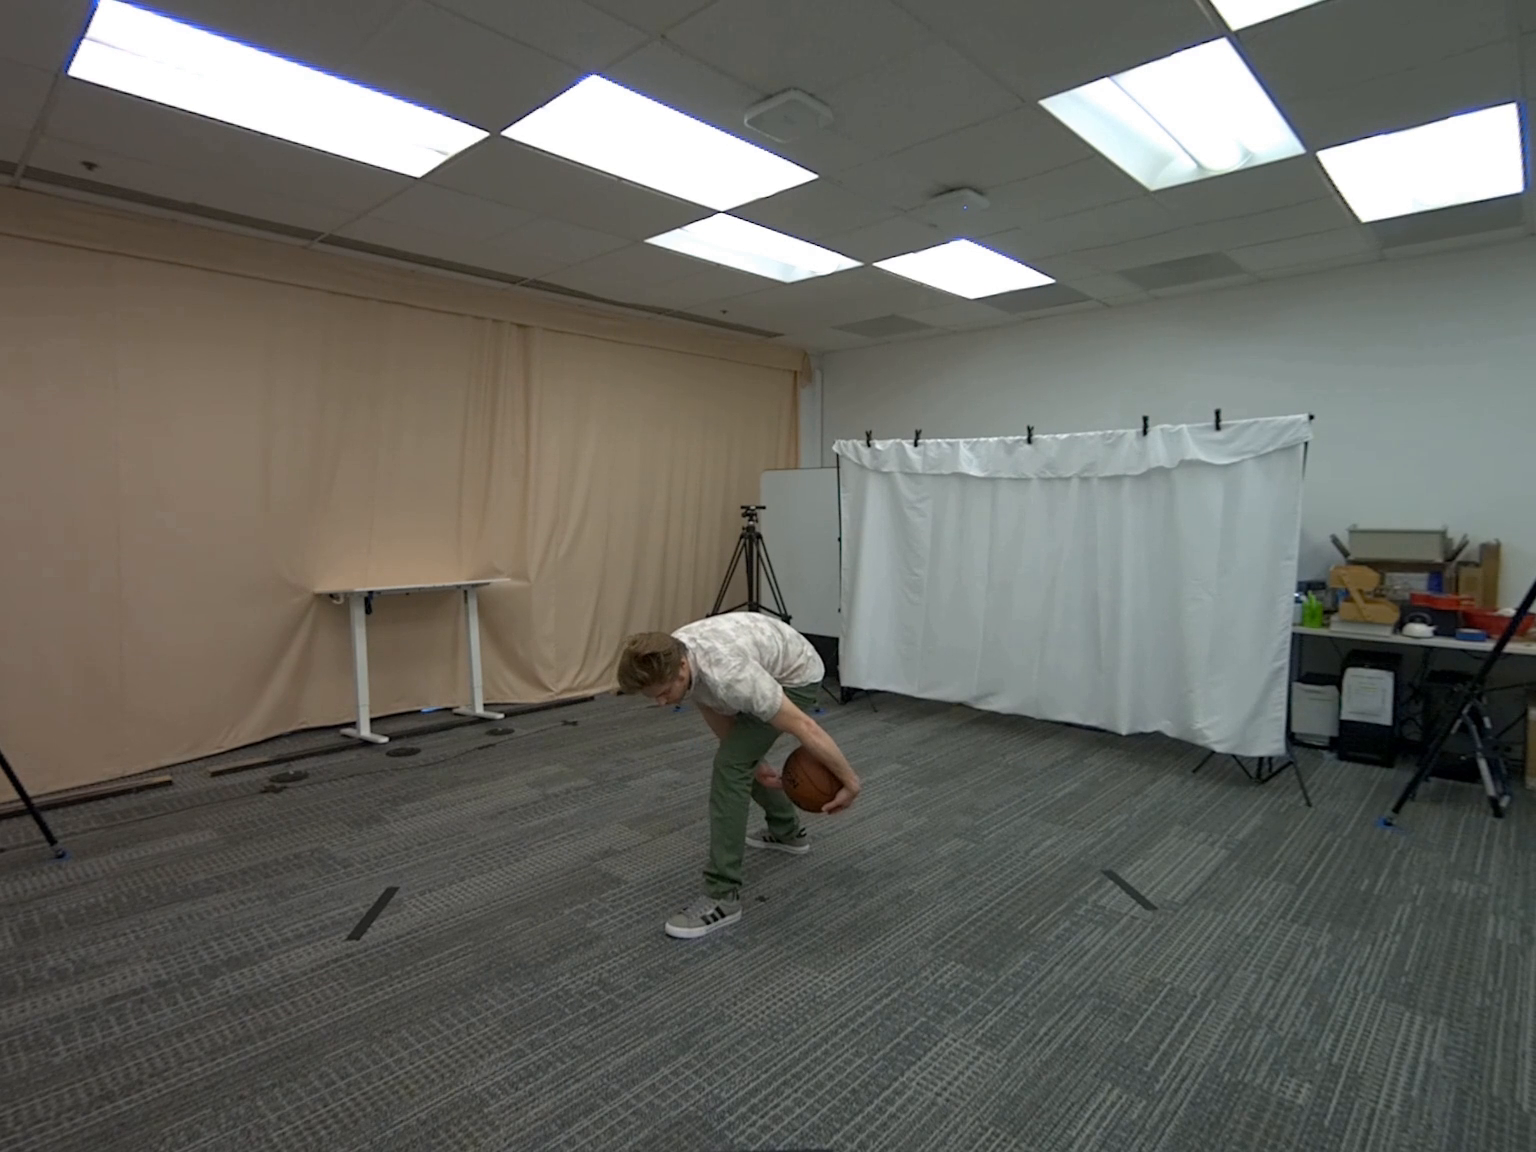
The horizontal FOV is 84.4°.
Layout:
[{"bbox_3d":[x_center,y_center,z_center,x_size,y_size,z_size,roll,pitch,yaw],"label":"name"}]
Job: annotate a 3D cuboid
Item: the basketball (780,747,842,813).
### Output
[{"bbox_3d":[0.168,0.713,2.973,0.236,0.235,0.237,0,4,-2],"label":"basketball"}]
